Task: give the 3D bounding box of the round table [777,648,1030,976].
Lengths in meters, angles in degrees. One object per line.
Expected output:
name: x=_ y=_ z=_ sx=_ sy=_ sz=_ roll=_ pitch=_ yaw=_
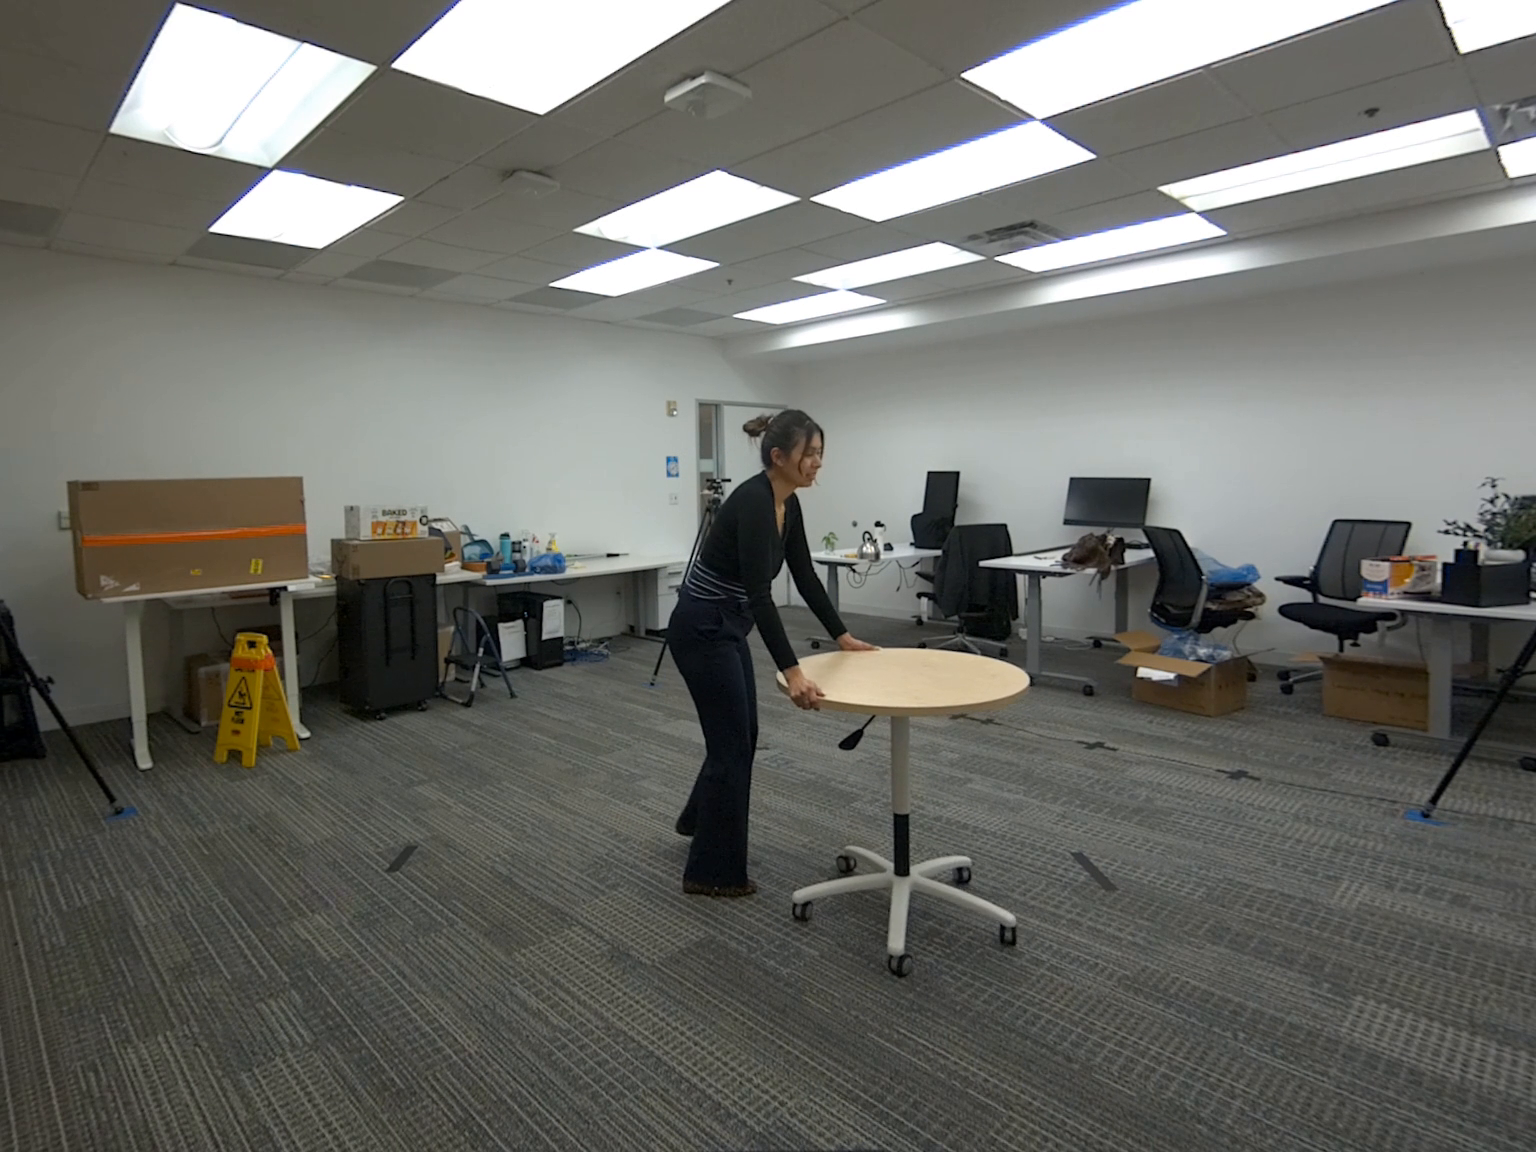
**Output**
round table: x=0.416 y=0.693 z=2.698 sx=0.763 sy=0.790 sz=0.768 roll=-1 pitch=5 yaw=-2
